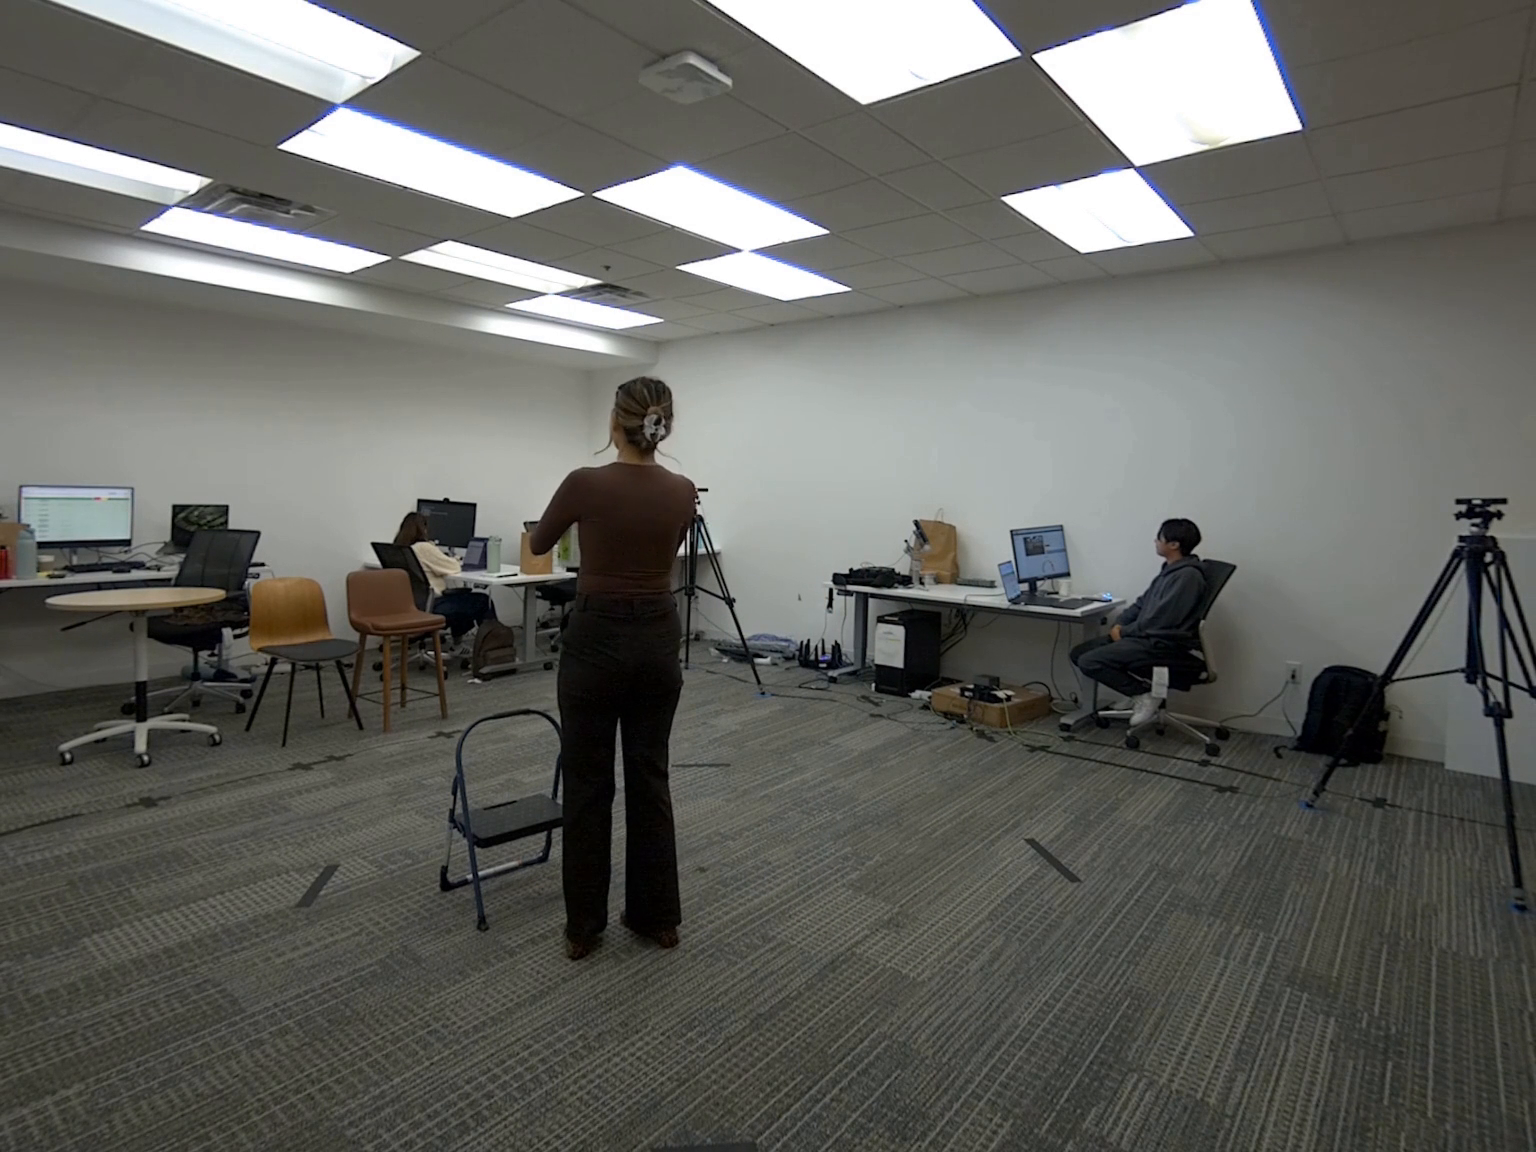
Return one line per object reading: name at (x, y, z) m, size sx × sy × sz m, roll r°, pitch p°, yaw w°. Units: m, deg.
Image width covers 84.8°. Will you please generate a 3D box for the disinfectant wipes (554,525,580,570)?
disinfectant wipes at (-0.684, -0.137, 2.978) m, size 0.117 × 0.216 × 0.118 m, roll 1°, pitch 5°, yaw -2°
